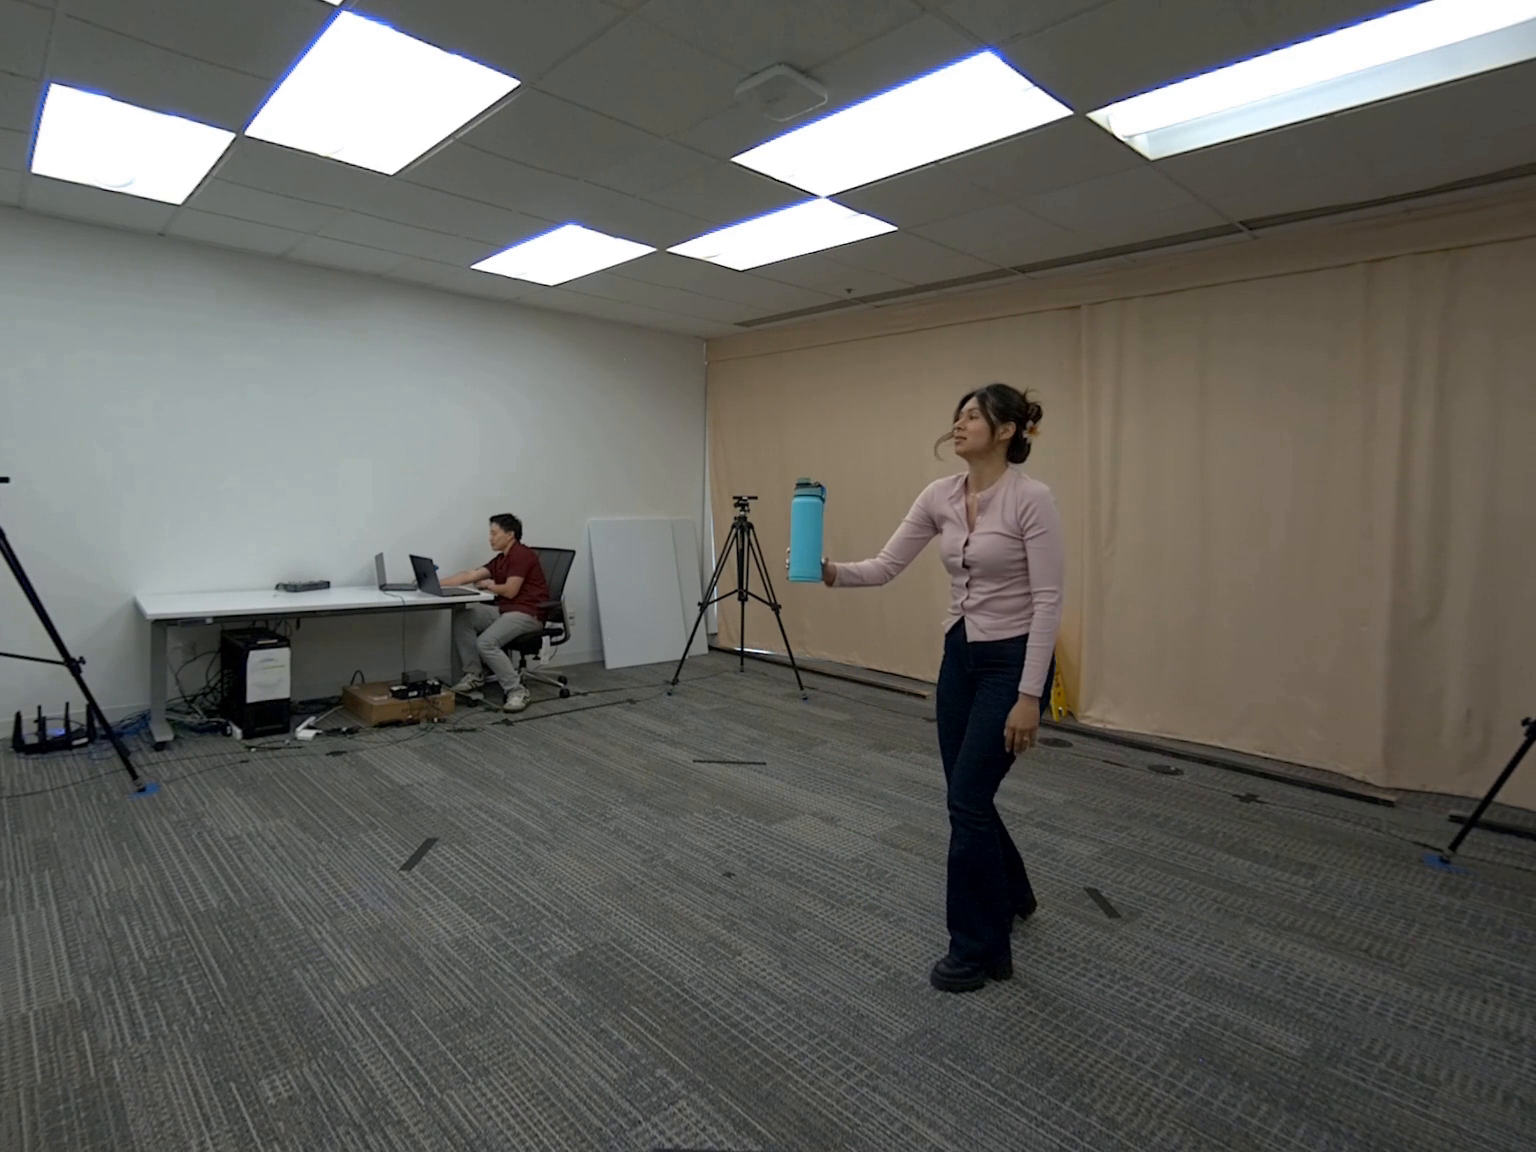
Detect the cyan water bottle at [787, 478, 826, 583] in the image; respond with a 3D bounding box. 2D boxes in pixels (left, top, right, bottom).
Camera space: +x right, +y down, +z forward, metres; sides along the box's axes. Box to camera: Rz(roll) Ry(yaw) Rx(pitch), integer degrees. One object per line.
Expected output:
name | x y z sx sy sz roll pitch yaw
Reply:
cyan water bottle | 0.113 -0.121 2.305 0.092 0.284 0.092 1 -4 -1
